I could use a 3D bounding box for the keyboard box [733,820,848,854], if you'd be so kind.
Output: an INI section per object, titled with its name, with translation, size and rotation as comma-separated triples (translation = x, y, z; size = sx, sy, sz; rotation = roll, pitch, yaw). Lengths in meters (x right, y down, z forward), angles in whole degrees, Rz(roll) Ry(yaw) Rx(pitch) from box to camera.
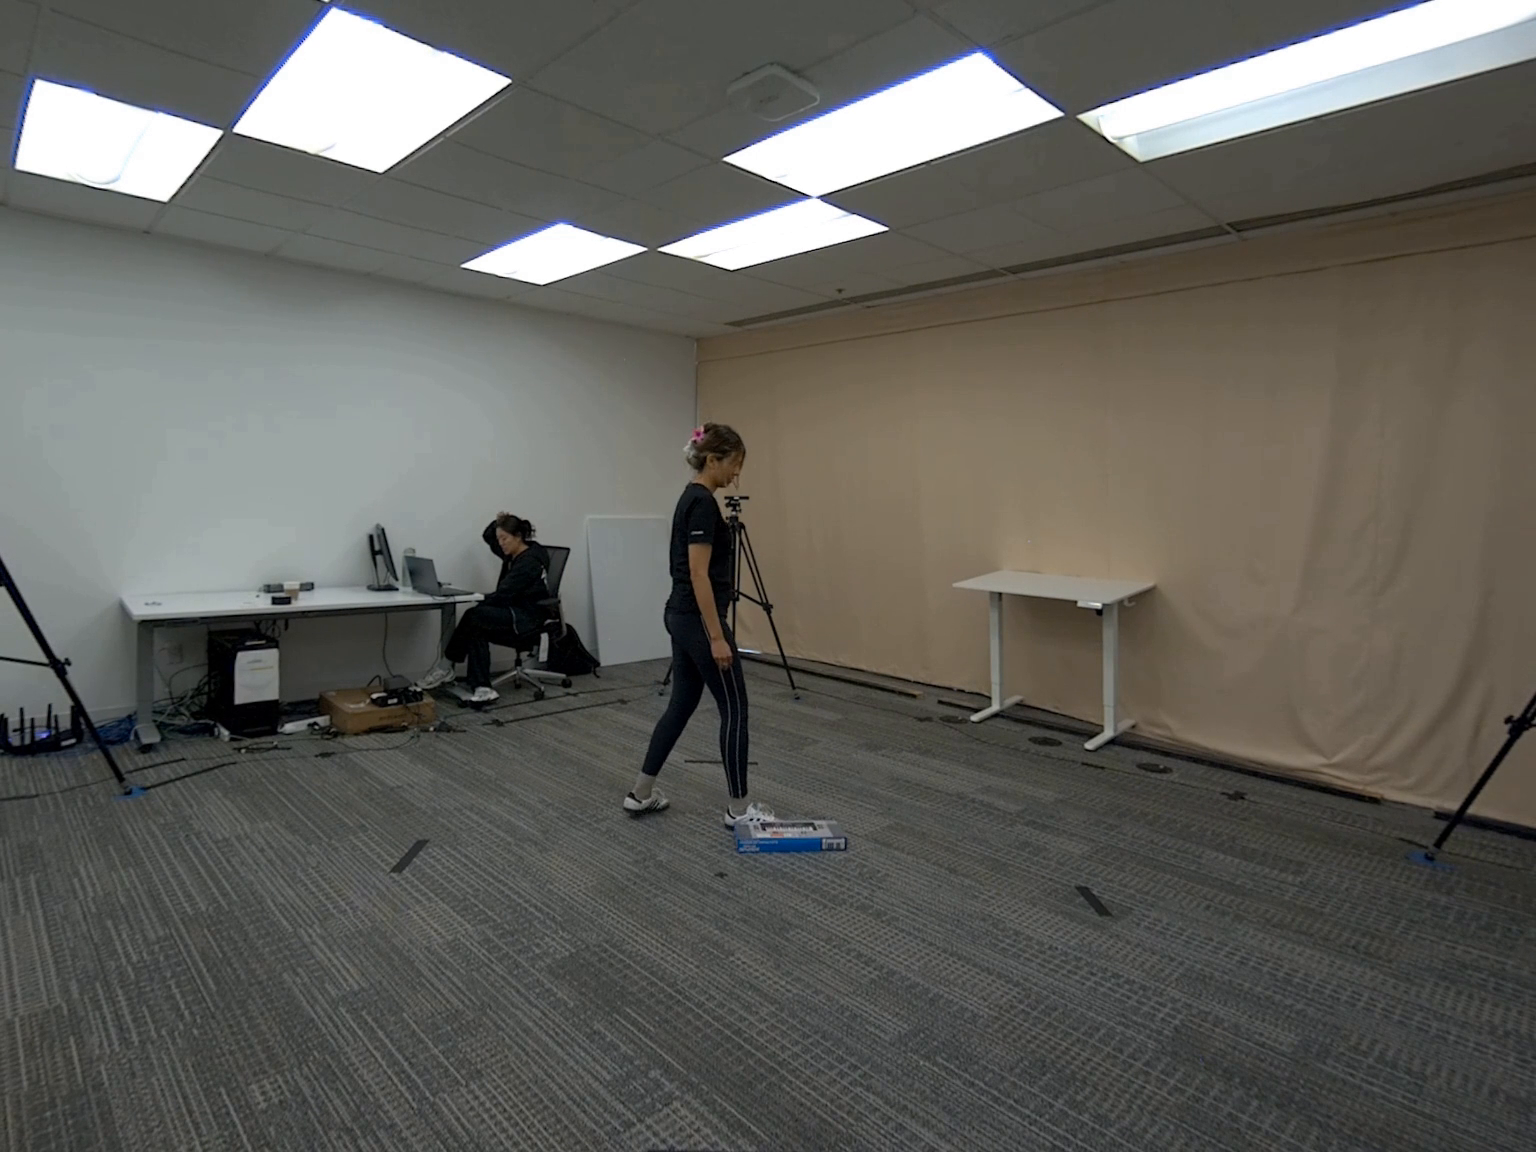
[keyboard box]
translation = 0.079, 1.054, 3.402
size = 0.435, 0.059, 0.177
rotation = 1, 6, -6
